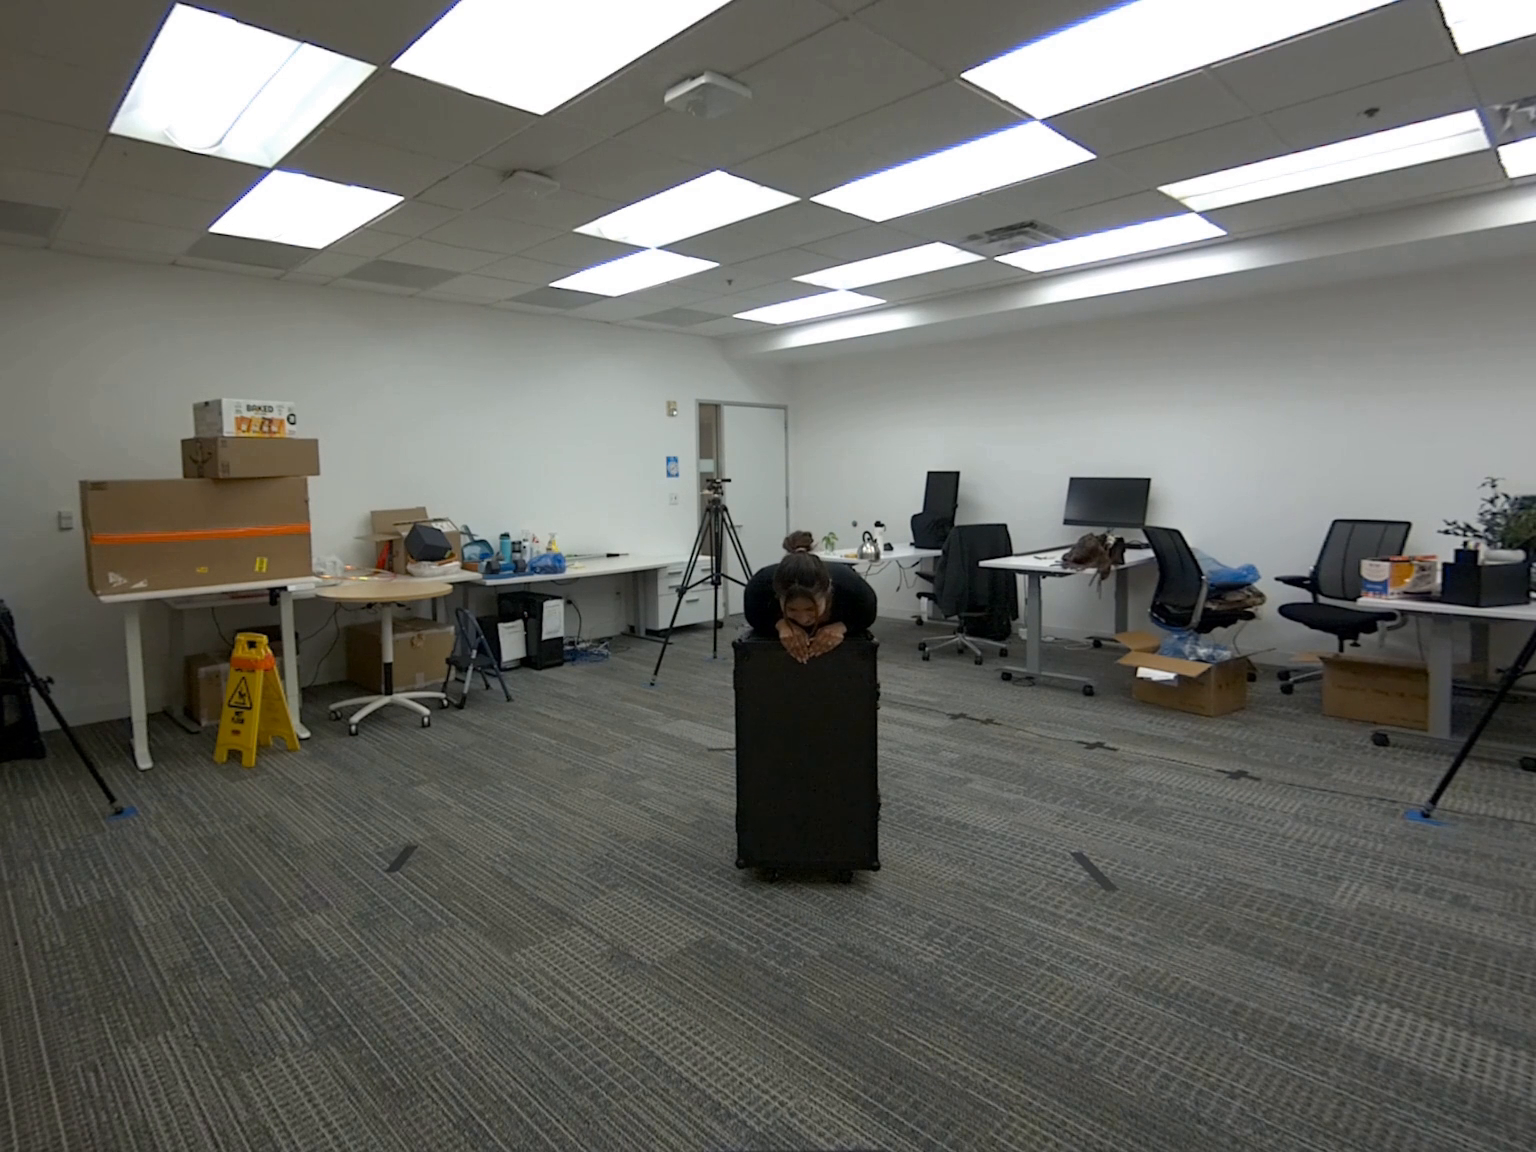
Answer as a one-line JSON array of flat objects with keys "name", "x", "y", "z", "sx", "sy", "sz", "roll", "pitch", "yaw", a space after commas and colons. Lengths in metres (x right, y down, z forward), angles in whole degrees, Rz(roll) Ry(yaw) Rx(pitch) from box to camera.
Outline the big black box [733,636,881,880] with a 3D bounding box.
[{"name": "big black box", "x": 0.127, "y": 0.628, "z": 3.066, "sx": 0.523, "sy": 0.860, "sz": 0.396, "roll": -1, "pitch": 2, "yaw": 3}]
